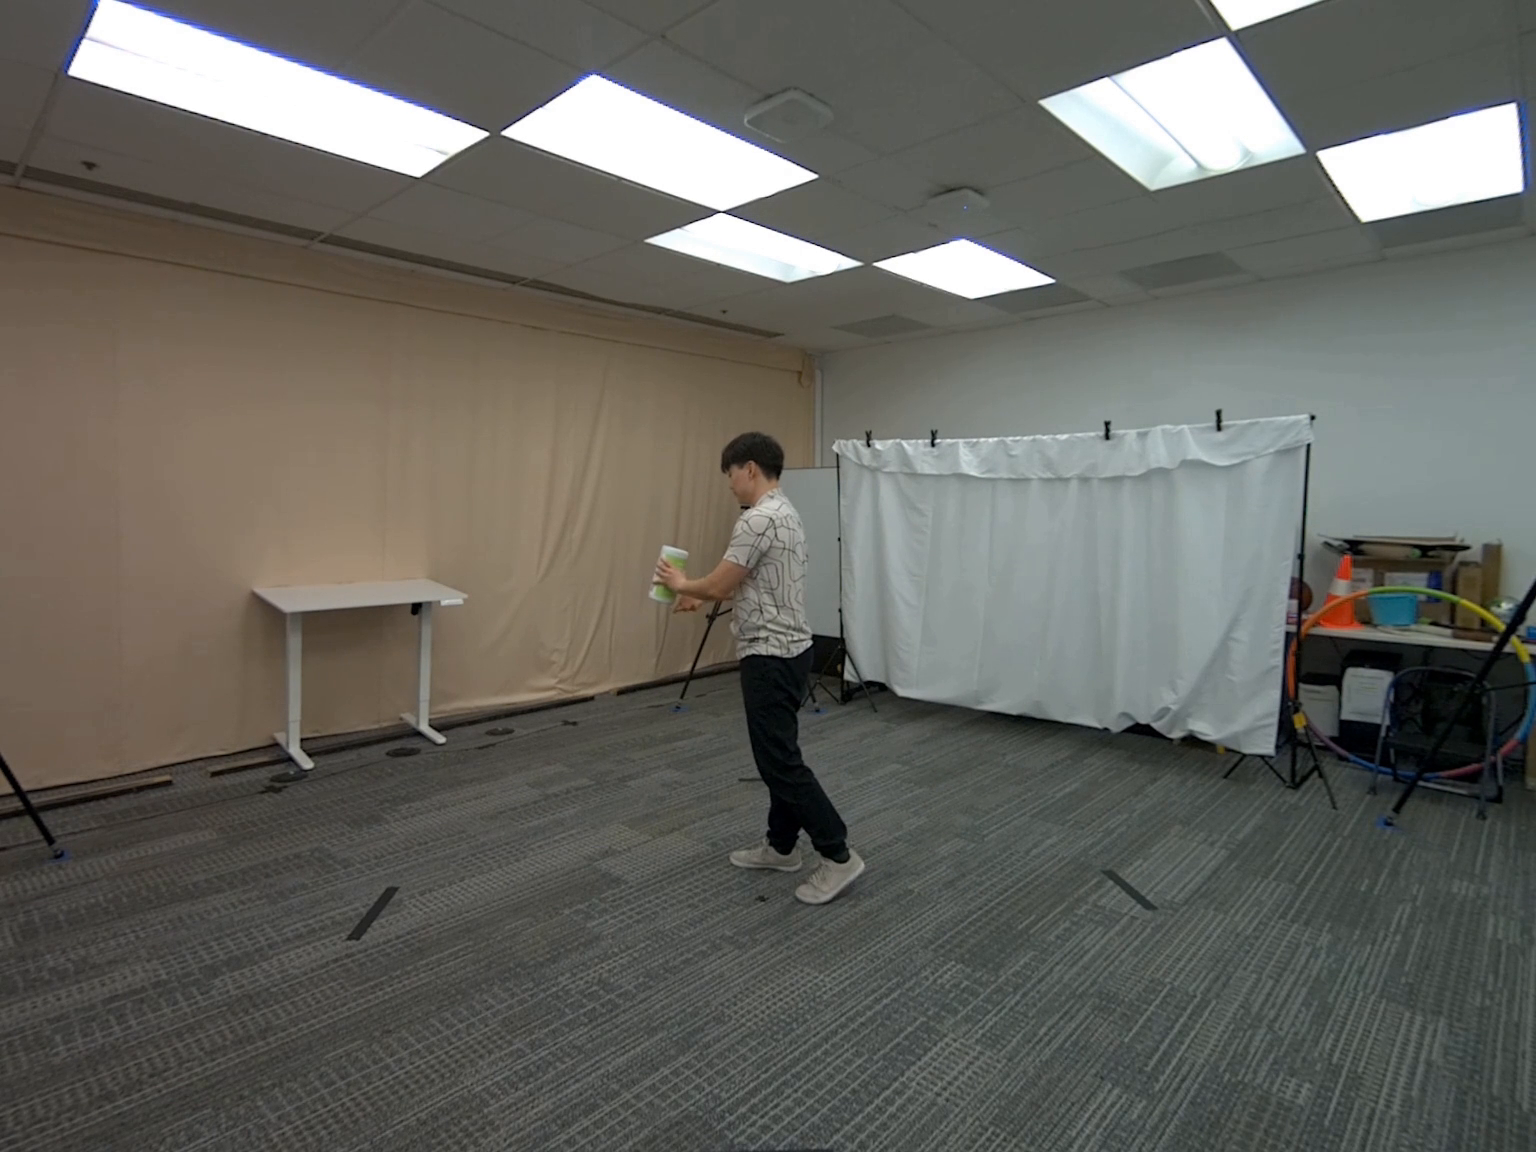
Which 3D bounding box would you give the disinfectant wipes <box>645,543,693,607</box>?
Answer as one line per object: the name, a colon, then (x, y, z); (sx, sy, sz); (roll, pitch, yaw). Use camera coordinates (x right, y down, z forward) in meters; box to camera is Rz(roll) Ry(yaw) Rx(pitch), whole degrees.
disinfectant wipes: (-0.387, -0.004, 3.299); (0.118, 0.218, 0.117); (16, -4, -1)
